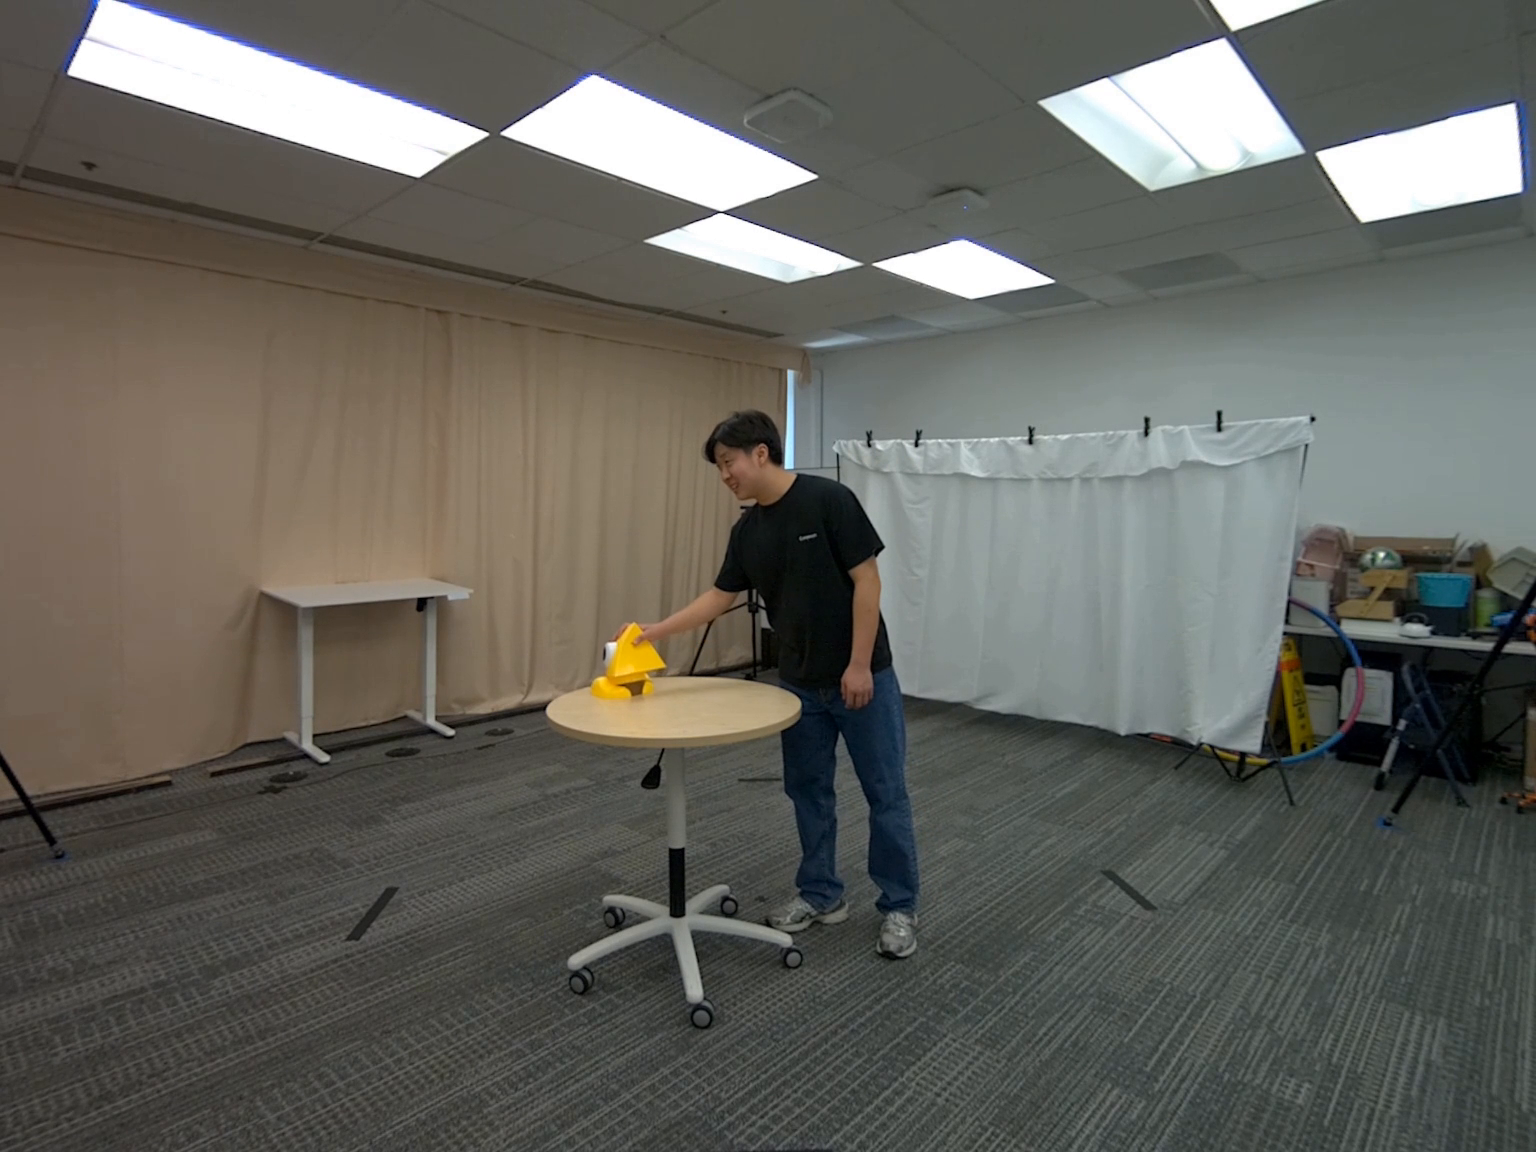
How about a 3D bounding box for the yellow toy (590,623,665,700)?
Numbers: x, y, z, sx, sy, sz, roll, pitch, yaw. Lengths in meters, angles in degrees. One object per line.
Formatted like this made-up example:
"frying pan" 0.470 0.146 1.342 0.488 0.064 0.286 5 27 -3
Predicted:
"yellow toy" -0.462 0.263 2.710 0.198 0.230 0.199 -4 5 -45
